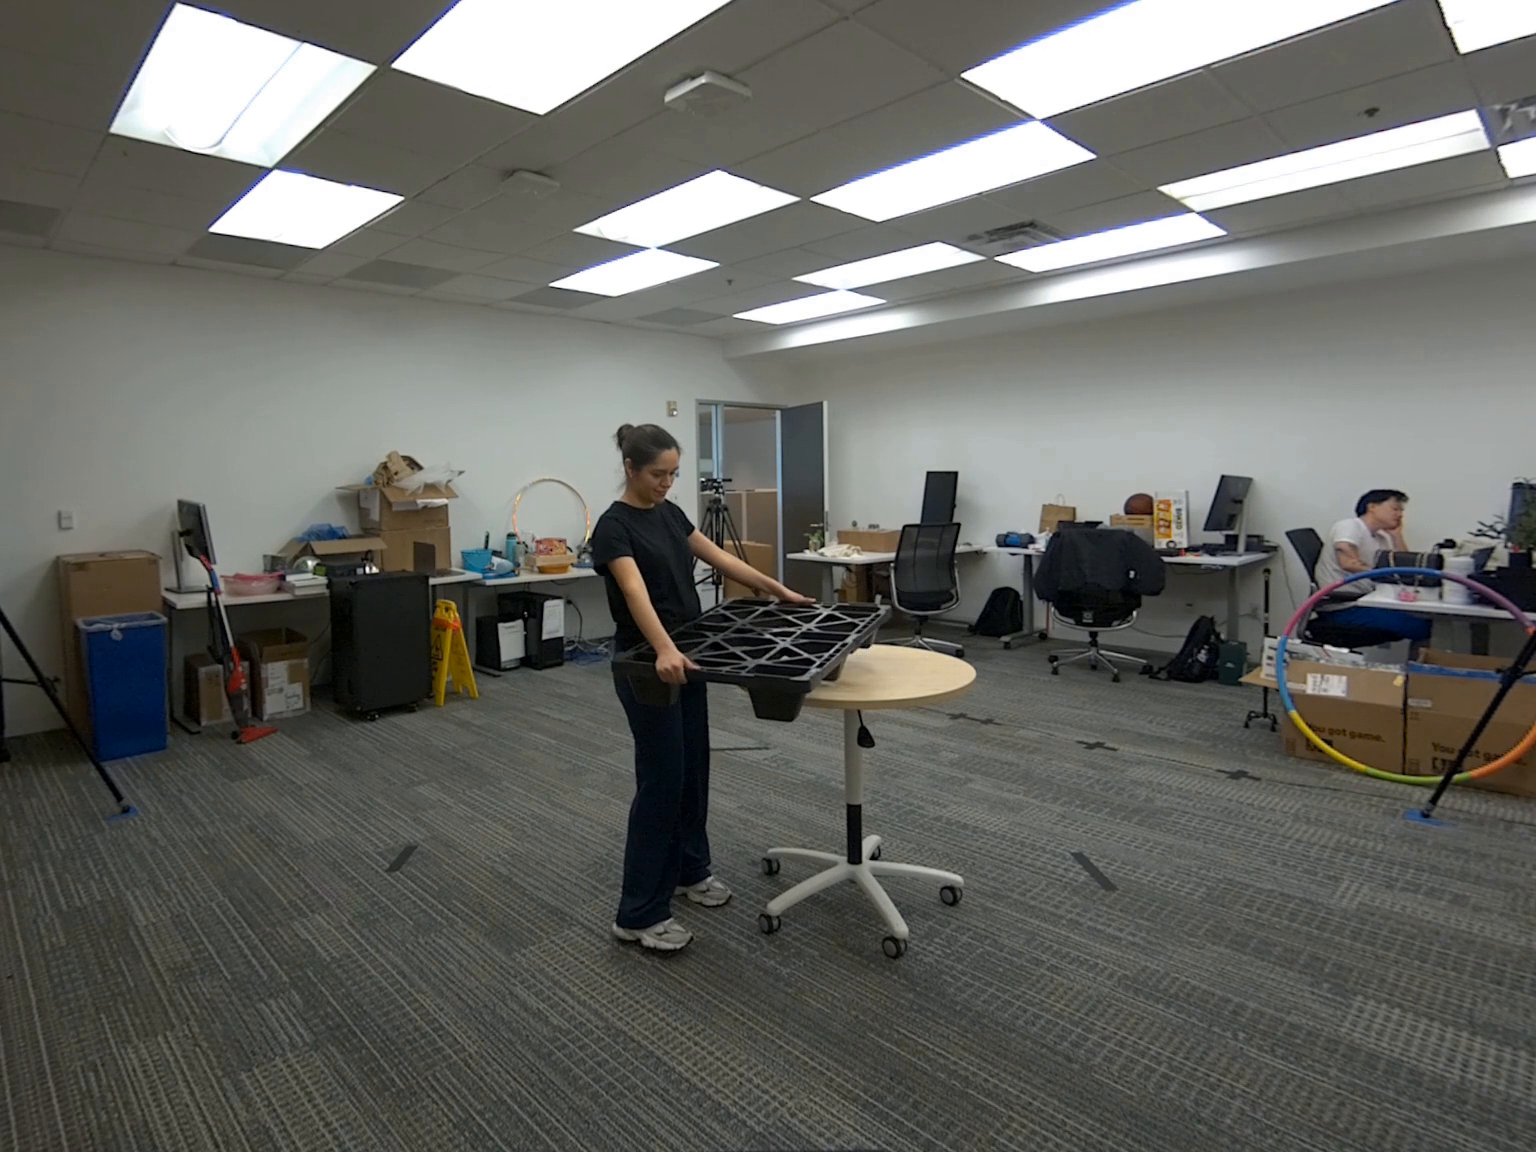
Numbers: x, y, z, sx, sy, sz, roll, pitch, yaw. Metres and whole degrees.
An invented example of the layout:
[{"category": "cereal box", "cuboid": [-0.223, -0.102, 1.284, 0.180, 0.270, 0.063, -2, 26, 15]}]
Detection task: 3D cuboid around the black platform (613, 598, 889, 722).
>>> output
[{"category": "black platform", "cuboid": [-0.024, 0.234, 2.616, 0.619, 0.142, 0.795, 2, 13, 24]}]
